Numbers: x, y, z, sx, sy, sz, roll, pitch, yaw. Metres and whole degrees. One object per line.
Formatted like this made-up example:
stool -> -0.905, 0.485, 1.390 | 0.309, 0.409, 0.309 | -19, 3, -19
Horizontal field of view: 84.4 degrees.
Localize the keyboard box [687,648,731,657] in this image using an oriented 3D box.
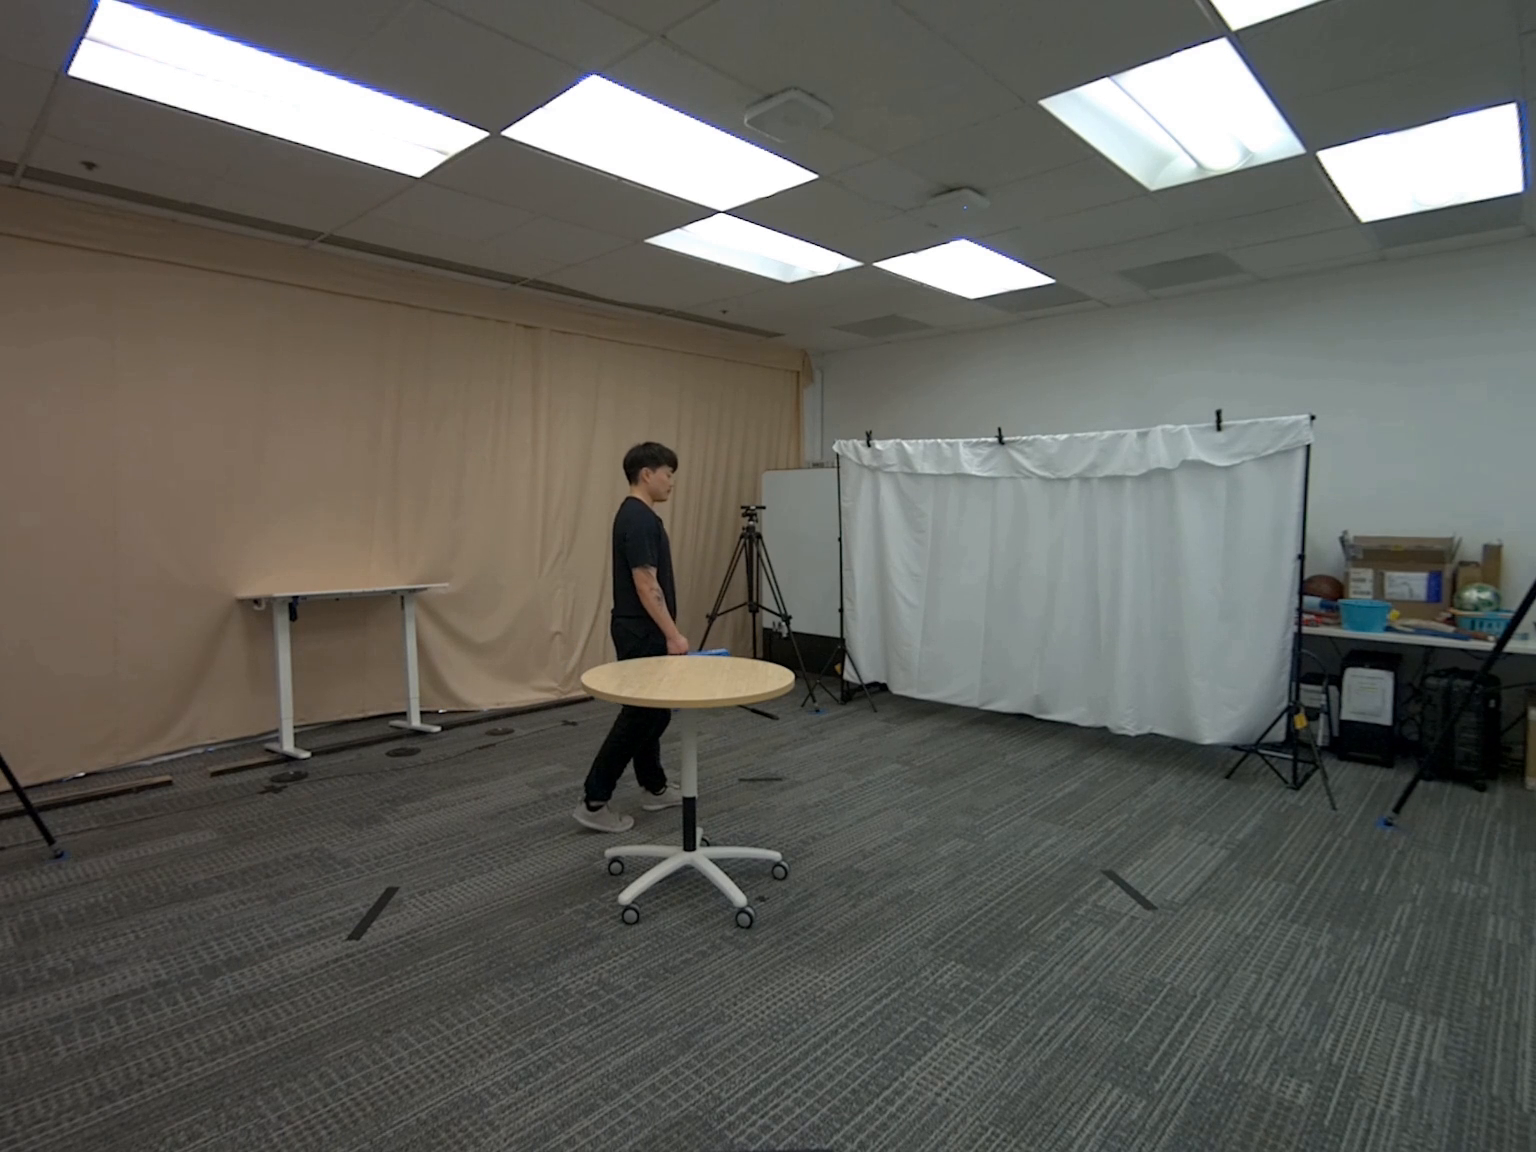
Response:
keyboard box -> -0.375, 0.422, 3.565 | 0.430, 0.175, 0.060 | -6, 5, -15
